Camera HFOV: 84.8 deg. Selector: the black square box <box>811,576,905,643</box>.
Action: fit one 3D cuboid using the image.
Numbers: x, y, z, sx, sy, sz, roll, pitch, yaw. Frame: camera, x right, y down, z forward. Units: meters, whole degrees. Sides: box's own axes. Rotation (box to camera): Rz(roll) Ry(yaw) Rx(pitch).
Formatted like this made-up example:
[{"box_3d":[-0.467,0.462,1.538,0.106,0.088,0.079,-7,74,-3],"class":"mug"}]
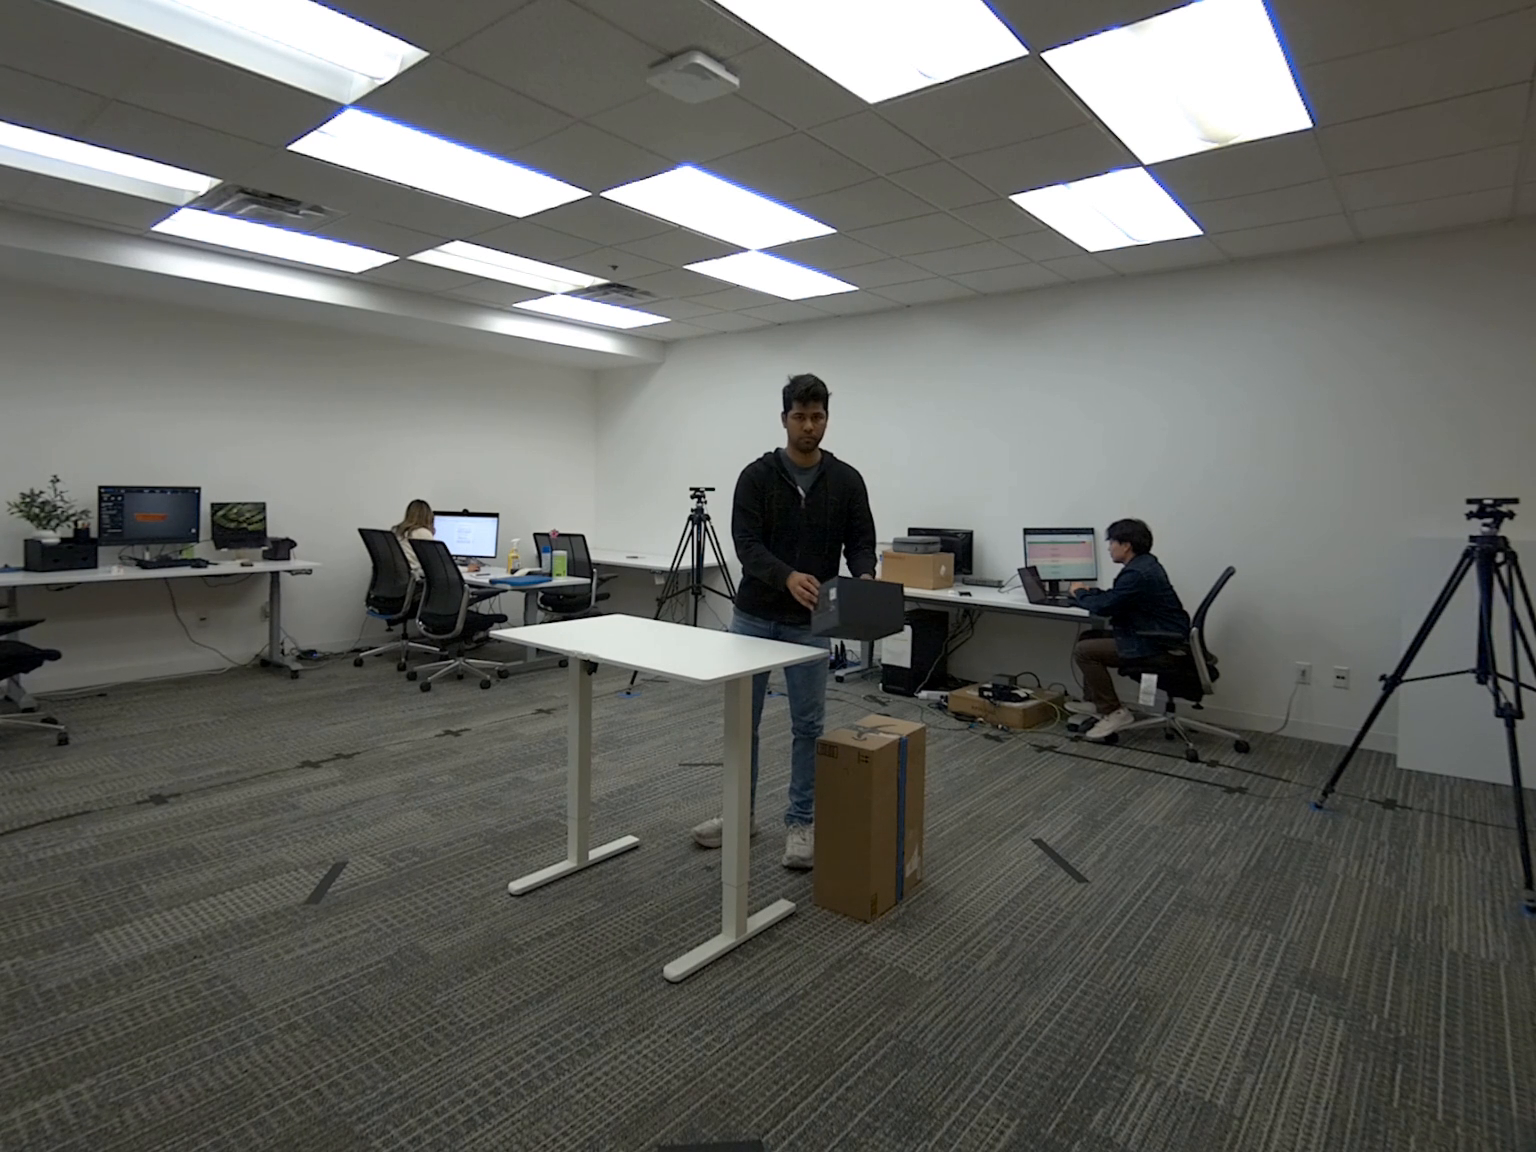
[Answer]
[{"box_3d":[0.264,0.115,2.753,0.224,0.158,0.217,7,-16,-16],"class":"black square box"}]
